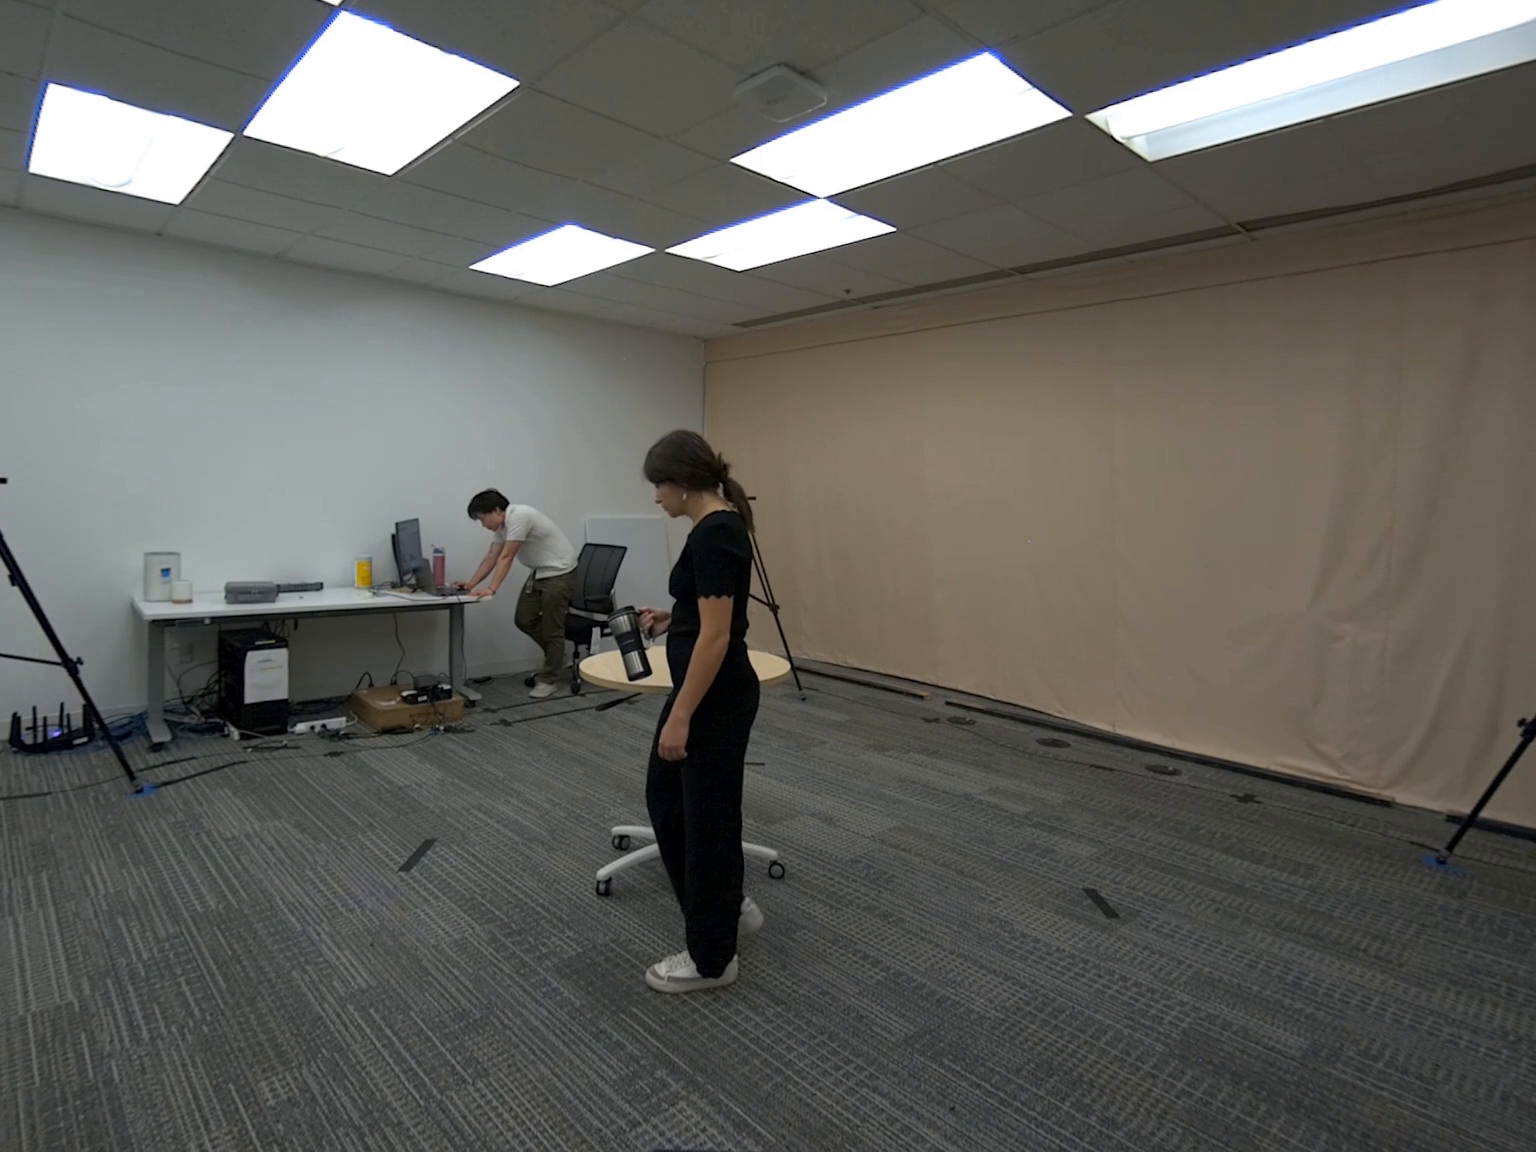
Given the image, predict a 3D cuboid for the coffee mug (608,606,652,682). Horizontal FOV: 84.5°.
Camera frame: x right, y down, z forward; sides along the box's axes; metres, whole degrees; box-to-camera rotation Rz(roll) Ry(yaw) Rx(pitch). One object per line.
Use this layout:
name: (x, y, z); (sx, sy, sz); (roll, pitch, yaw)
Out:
coffee mug: (-0.380, 0.195, 2.432); (0.121, 0.205, 0.087); (-17, -13, -18)
